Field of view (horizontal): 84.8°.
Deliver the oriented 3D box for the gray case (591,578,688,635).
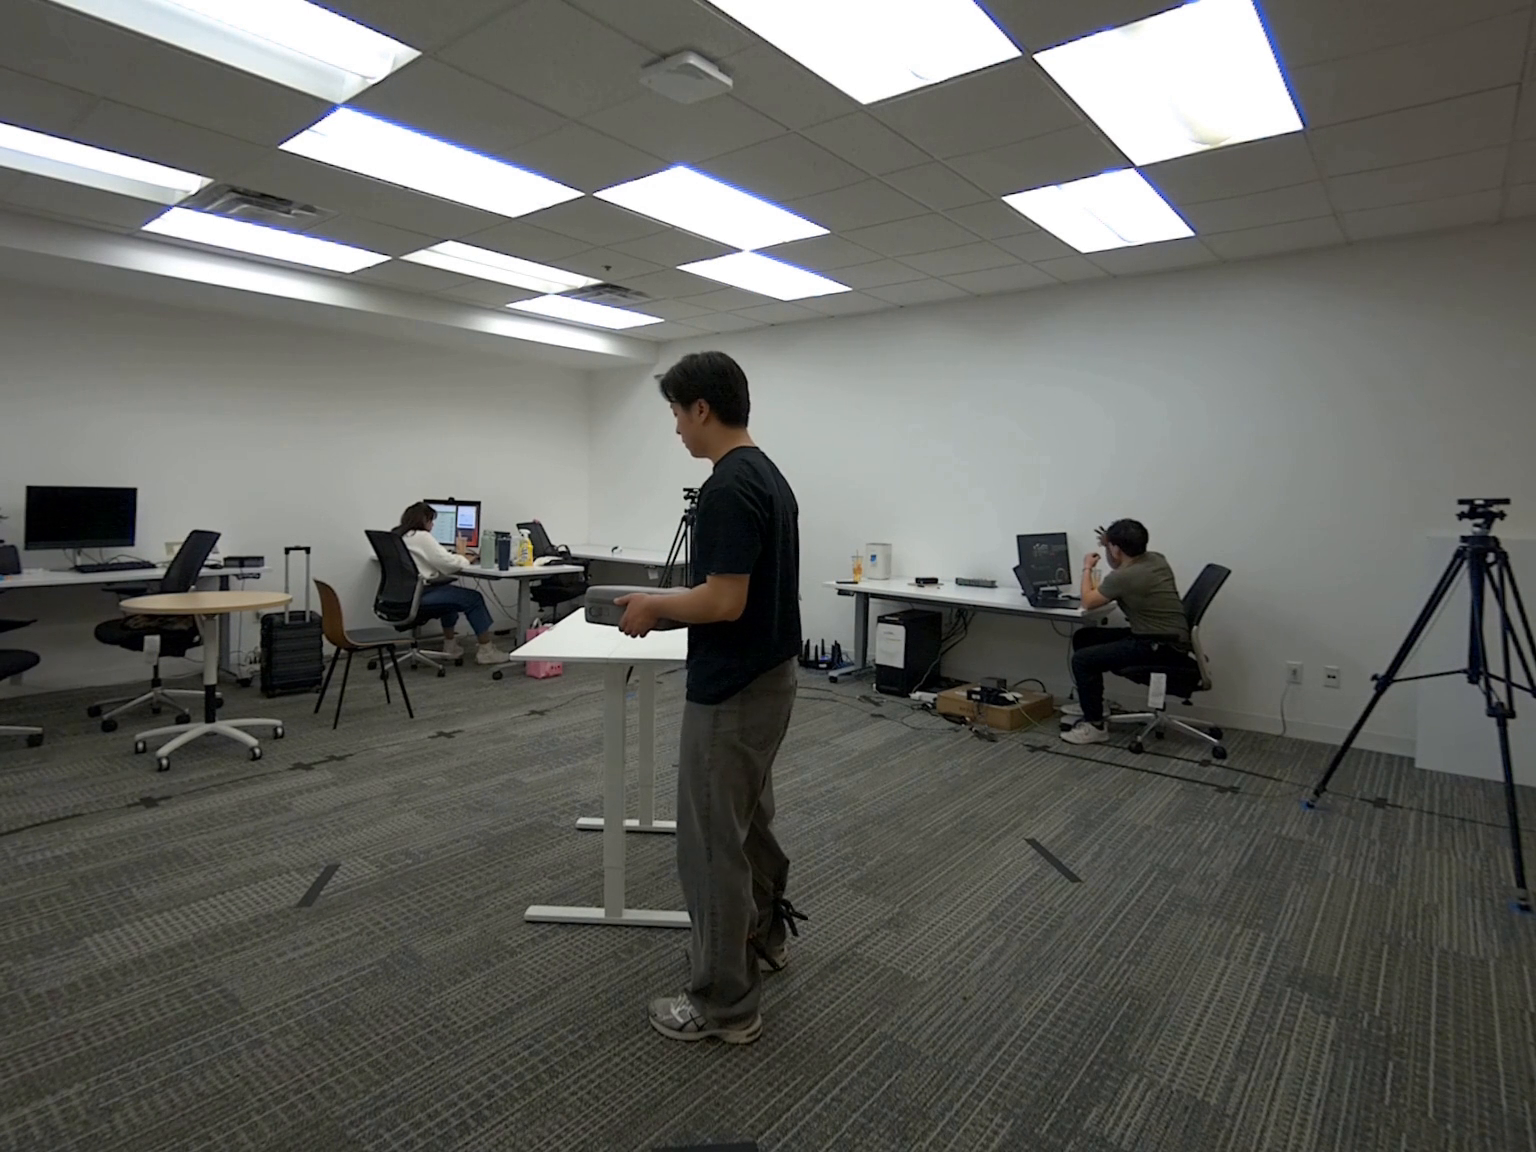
[{"bbox_3d":[-0.341,0.080,2.370,0.263,0.103,0.288,8,1,-3],"label":"gray case"}]
